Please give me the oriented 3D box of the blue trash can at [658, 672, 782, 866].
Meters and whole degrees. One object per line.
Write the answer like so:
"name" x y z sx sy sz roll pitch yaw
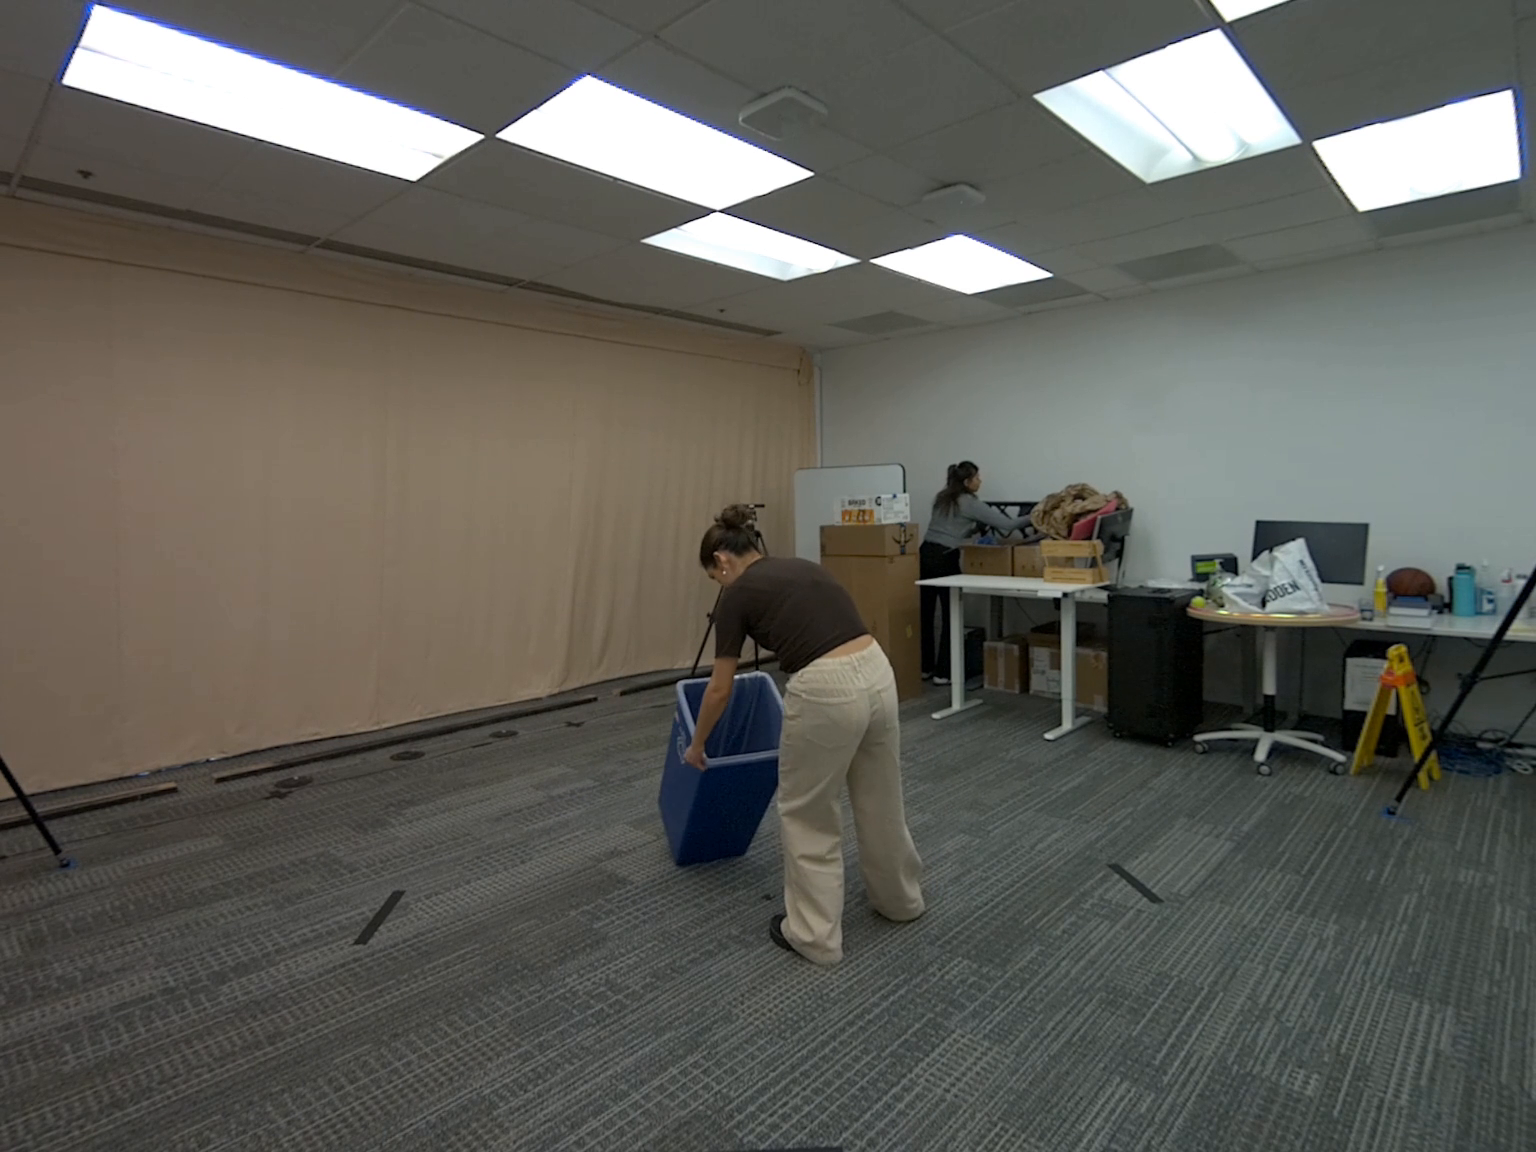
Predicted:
"blue trash can" -0.184 0.757 3.180 0.370 0.706 0.386 -4 42 -23
